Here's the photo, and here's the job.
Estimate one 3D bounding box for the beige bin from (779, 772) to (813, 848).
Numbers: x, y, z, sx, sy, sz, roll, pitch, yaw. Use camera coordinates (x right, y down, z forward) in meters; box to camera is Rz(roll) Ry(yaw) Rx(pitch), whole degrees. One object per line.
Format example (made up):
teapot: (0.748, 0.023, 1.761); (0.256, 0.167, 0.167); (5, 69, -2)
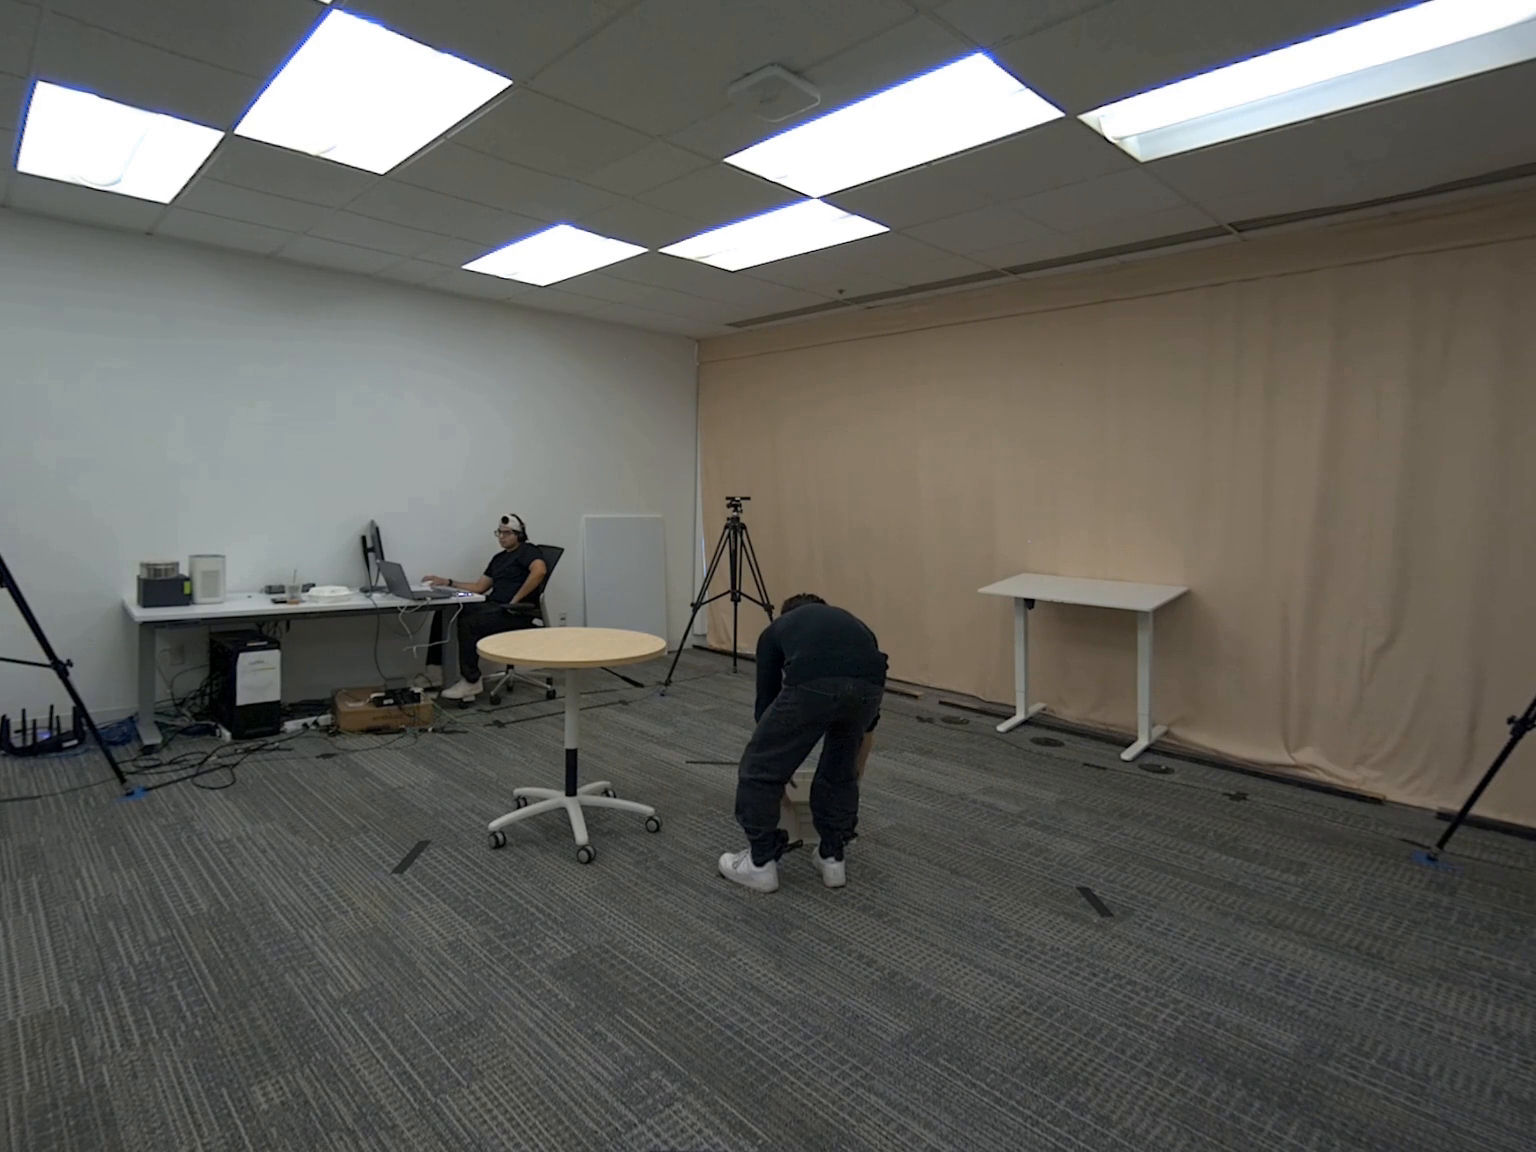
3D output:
beige bin: (0.171, 0.985, 3.624); (0.376, 0.188, 0.424); (1, 4, -4)
